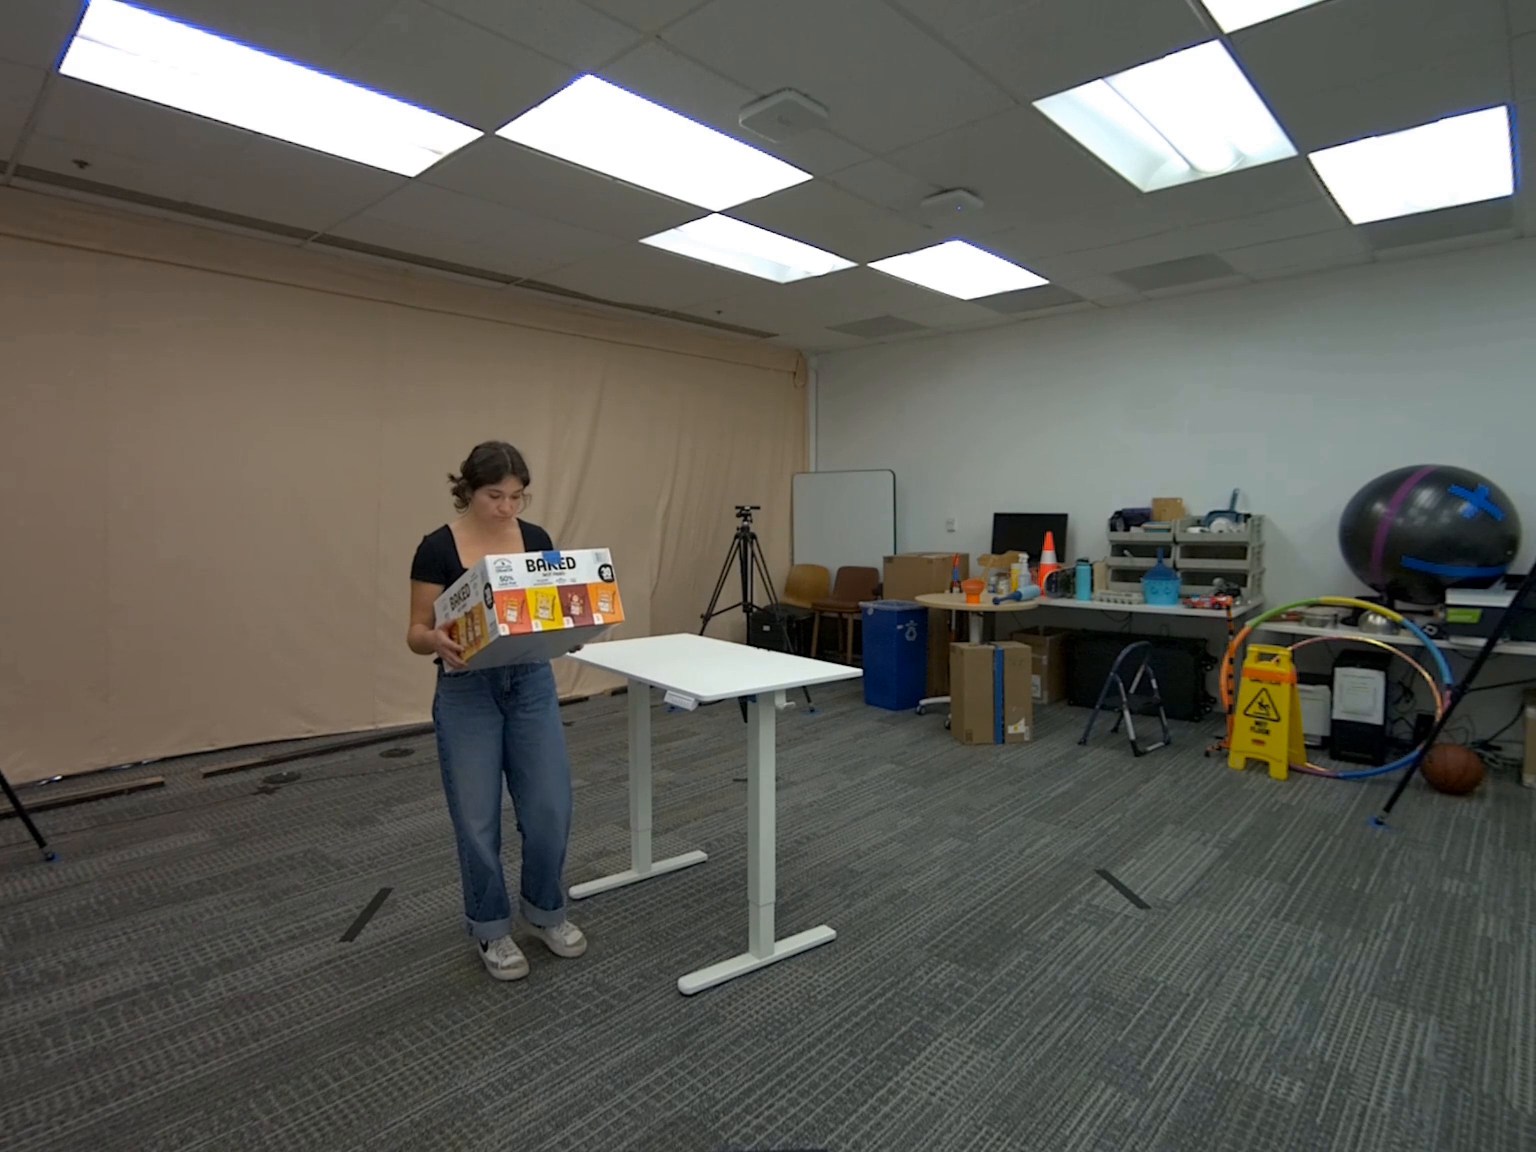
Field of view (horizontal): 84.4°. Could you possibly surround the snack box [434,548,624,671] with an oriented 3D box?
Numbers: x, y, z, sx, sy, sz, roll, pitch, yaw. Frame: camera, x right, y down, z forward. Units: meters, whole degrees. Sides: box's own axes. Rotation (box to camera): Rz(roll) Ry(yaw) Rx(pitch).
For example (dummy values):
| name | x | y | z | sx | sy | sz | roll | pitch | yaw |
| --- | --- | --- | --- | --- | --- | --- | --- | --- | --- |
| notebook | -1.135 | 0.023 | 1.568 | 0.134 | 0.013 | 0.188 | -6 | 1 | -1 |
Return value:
| name | x | y | z | sx | sy | sz | roll | pitch | yaw |
| --- | --- | --- | --- | --- | --- | --- | --- | --- | --- |
| snack box | -0.637 | 0.095 | 2.226 | 0.330 | 0.208 | 0.412 | -4 | -16 | -39 |
